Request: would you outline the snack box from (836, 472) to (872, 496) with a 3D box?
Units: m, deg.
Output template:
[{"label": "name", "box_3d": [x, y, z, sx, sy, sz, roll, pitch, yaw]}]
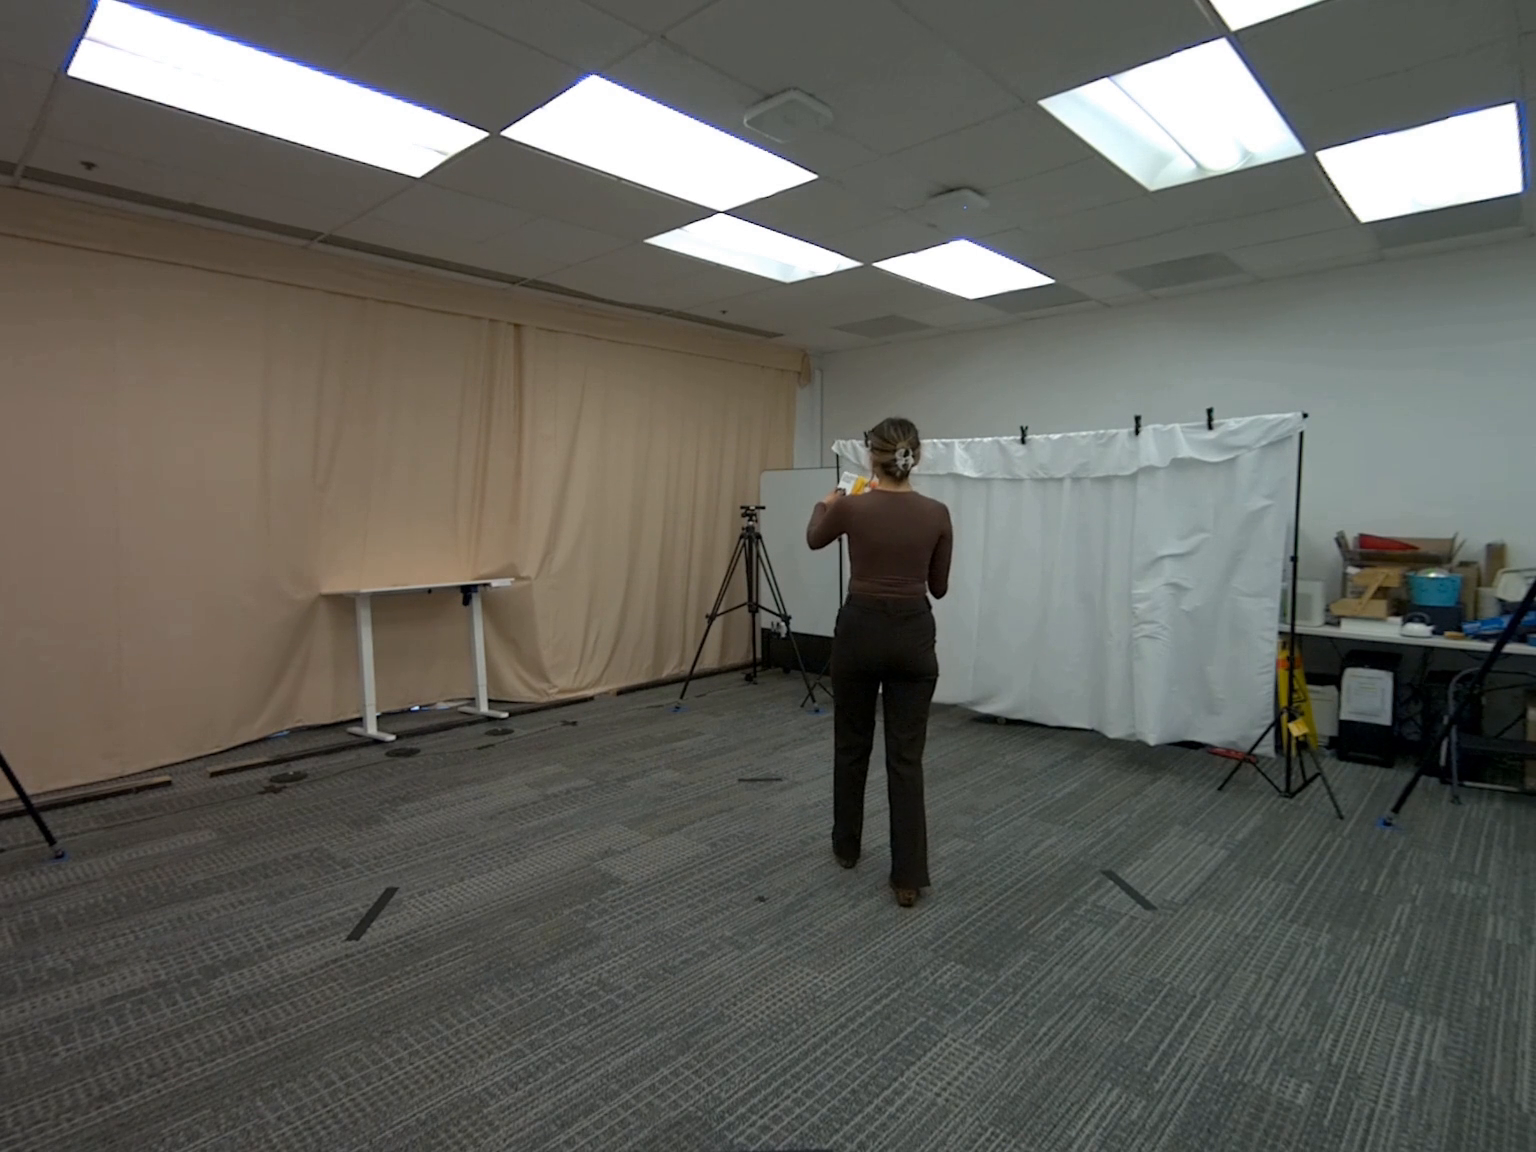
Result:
[{"label": "snack box", "box_3d": [0.524, -0.249, 3.559, 0.419, 0.206, 0.329, 22, -1, 31]}]
